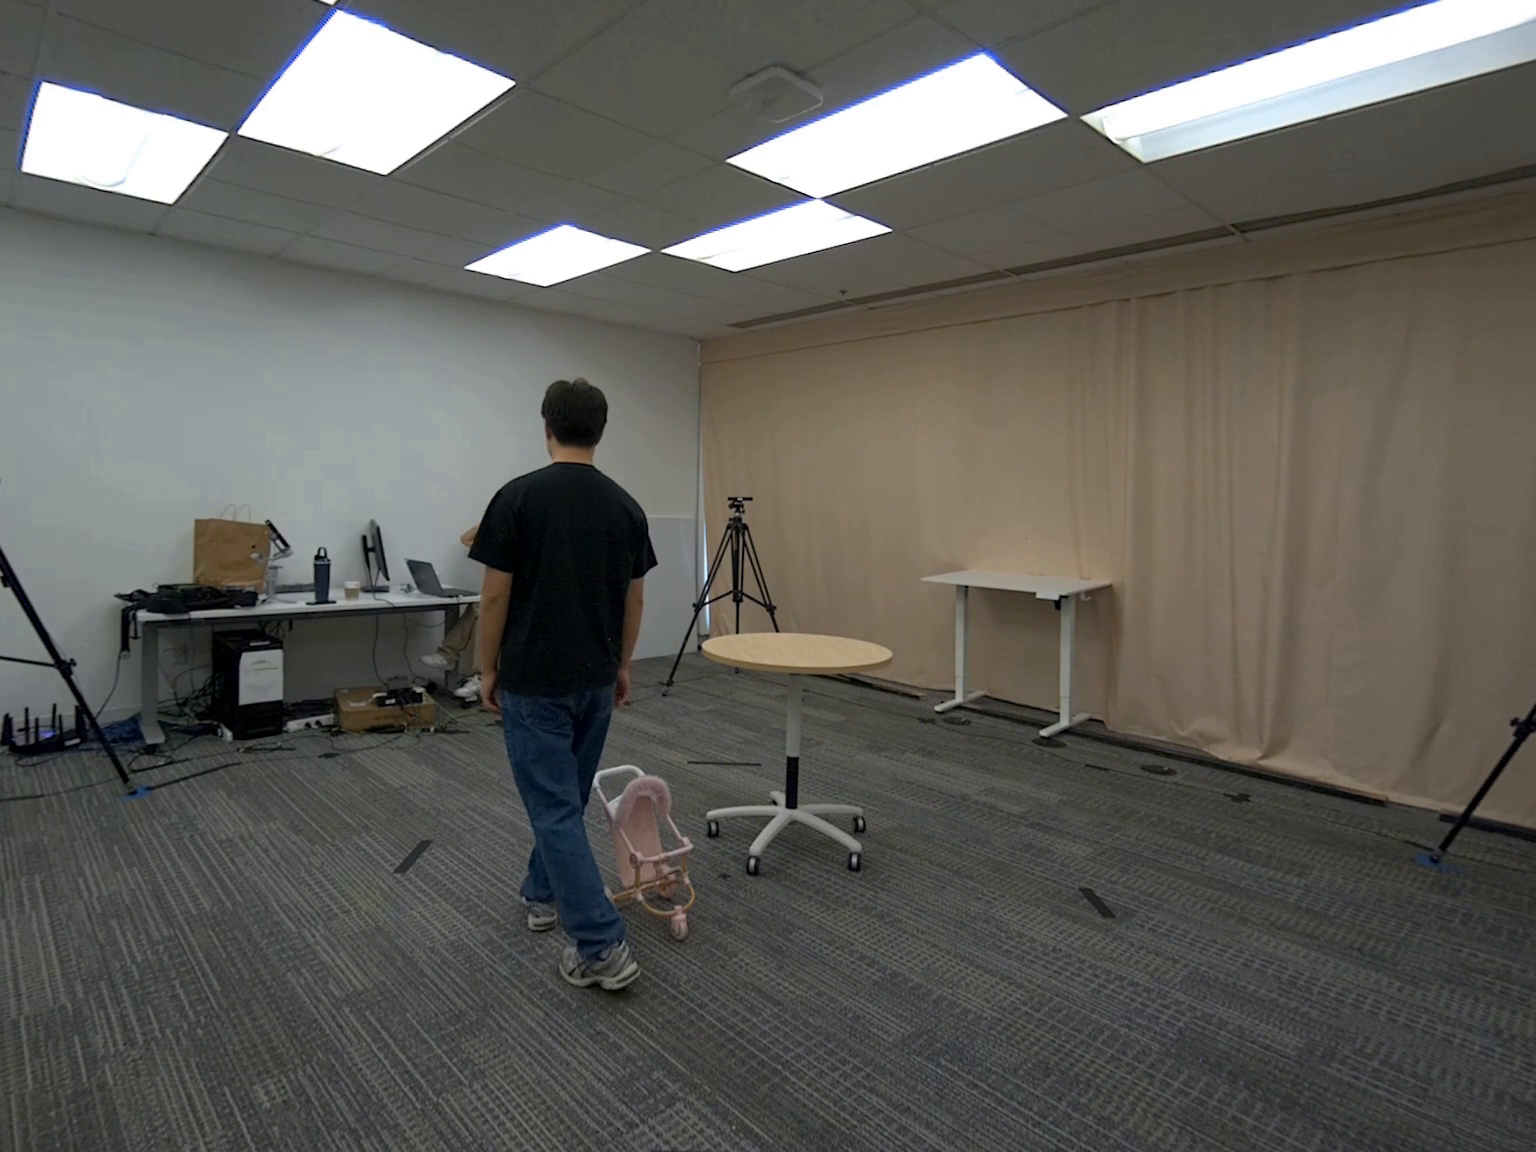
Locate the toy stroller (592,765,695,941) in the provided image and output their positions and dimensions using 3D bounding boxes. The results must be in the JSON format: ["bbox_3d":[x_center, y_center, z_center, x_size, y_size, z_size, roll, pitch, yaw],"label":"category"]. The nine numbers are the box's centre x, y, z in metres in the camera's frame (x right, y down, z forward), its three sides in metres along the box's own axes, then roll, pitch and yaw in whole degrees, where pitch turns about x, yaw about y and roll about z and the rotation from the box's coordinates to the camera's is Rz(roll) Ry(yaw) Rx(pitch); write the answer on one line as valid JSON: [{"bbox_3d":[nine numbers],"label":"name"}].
[{"bbox_3d":[-0.408,0.905,2.784,0.275,0.539,0.346,-2,-11,-38],"label":"toy stroller"}]
